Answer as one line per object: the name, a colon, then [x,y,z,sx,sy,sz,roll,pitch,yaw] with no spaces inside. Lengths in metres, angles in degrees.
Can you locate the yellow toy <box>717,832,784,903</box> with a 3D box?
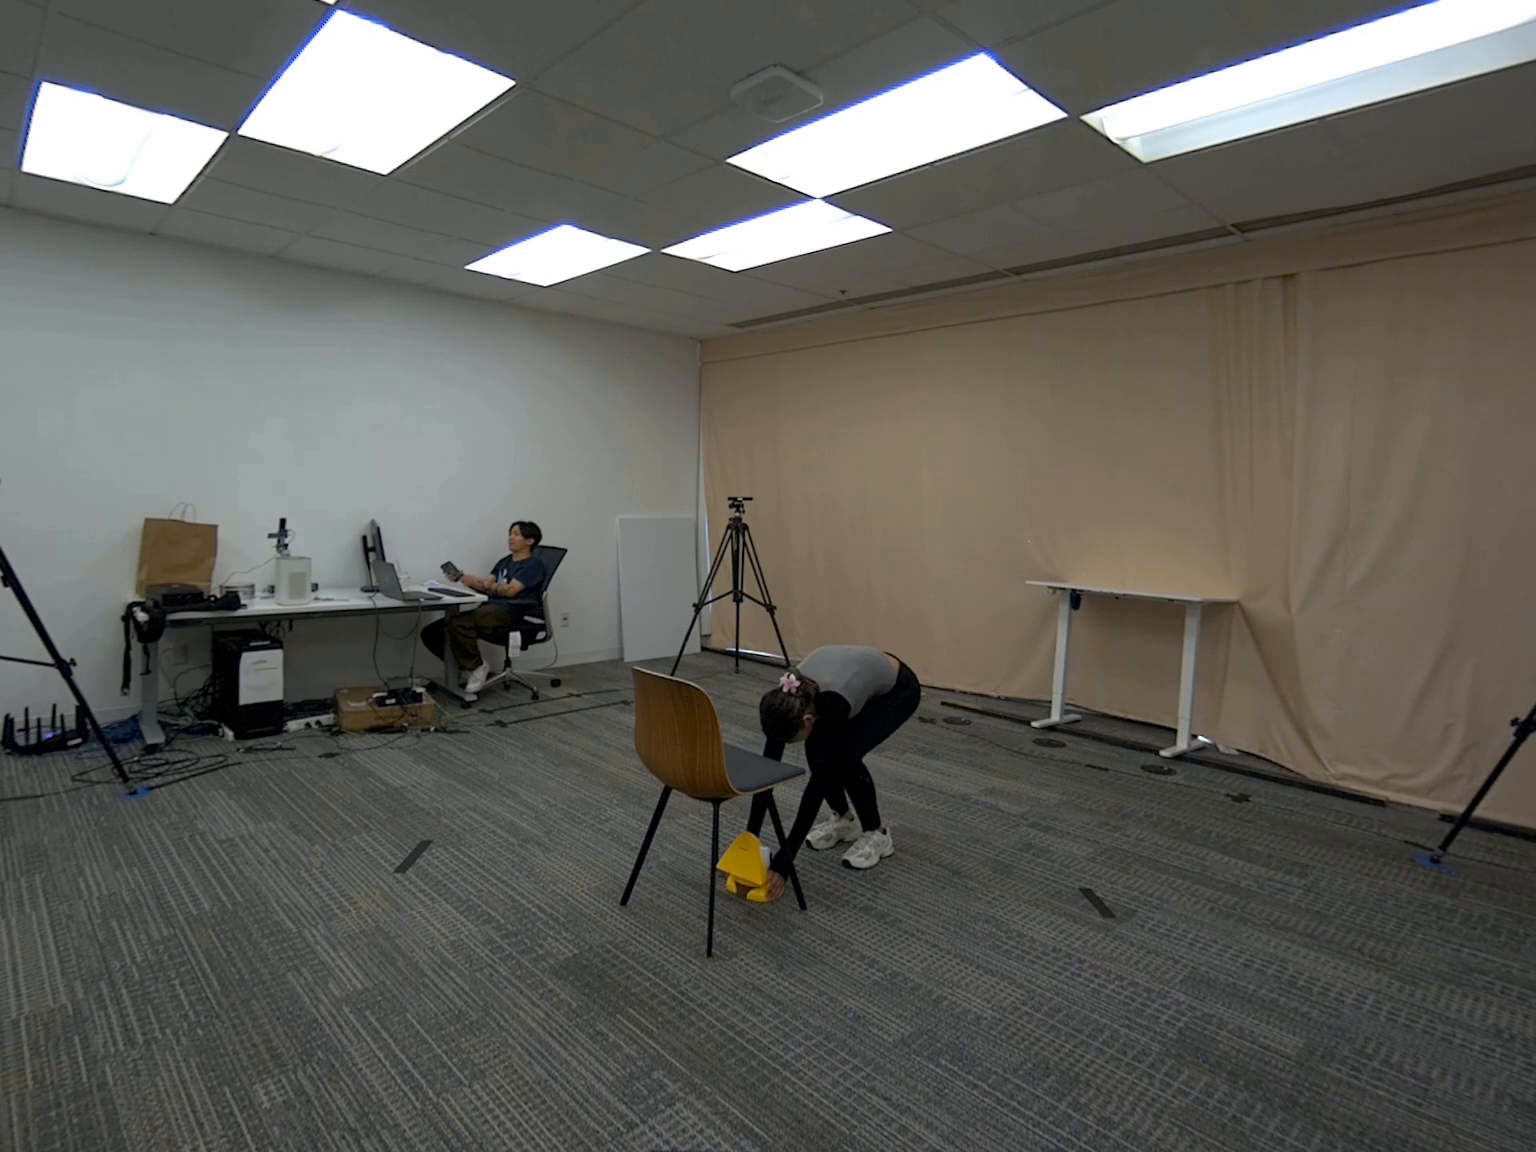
yellow toy: [-0.058,1.009,2.998,0.210,0.230,0.189,3,6,38]
